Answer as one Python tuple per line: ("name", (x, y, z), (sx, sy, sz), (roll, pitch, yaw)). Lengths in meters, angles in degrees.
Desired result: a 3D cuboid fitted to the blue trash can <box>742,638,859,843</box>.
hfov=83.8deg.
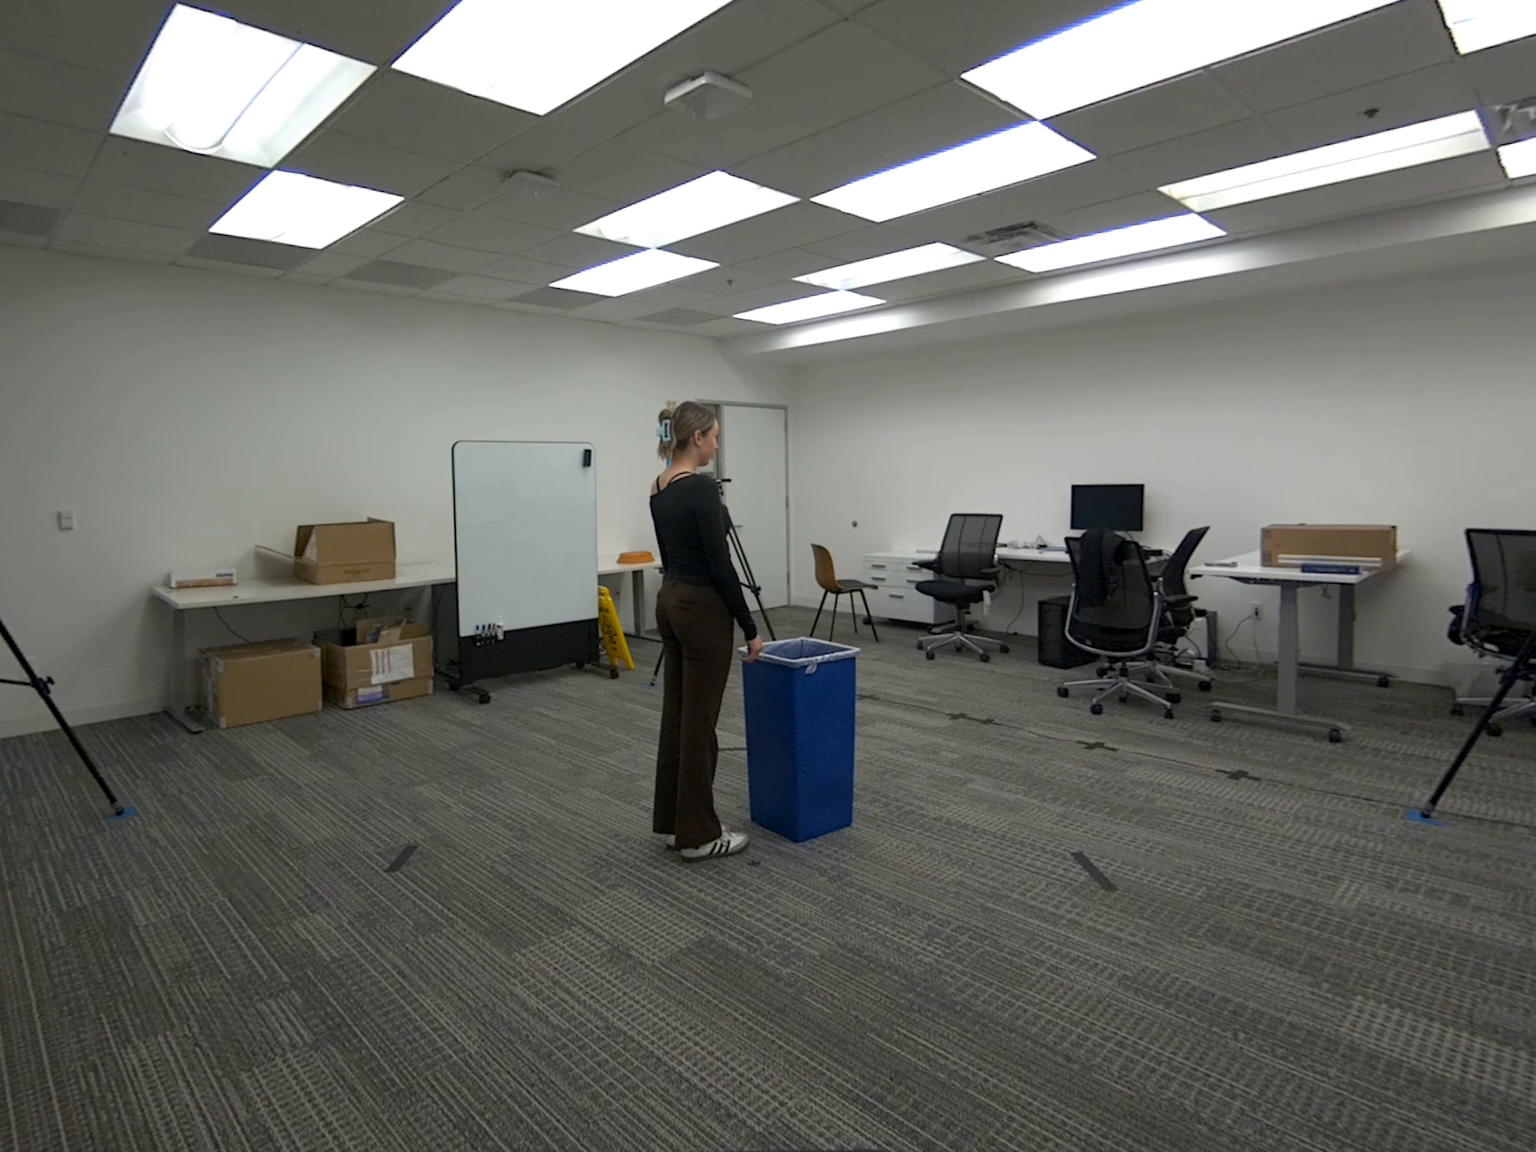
("blue trash can", (0.124, 0.646, 3.458), (0.368, 0.711, 0.385), (-4, 5, -38))
